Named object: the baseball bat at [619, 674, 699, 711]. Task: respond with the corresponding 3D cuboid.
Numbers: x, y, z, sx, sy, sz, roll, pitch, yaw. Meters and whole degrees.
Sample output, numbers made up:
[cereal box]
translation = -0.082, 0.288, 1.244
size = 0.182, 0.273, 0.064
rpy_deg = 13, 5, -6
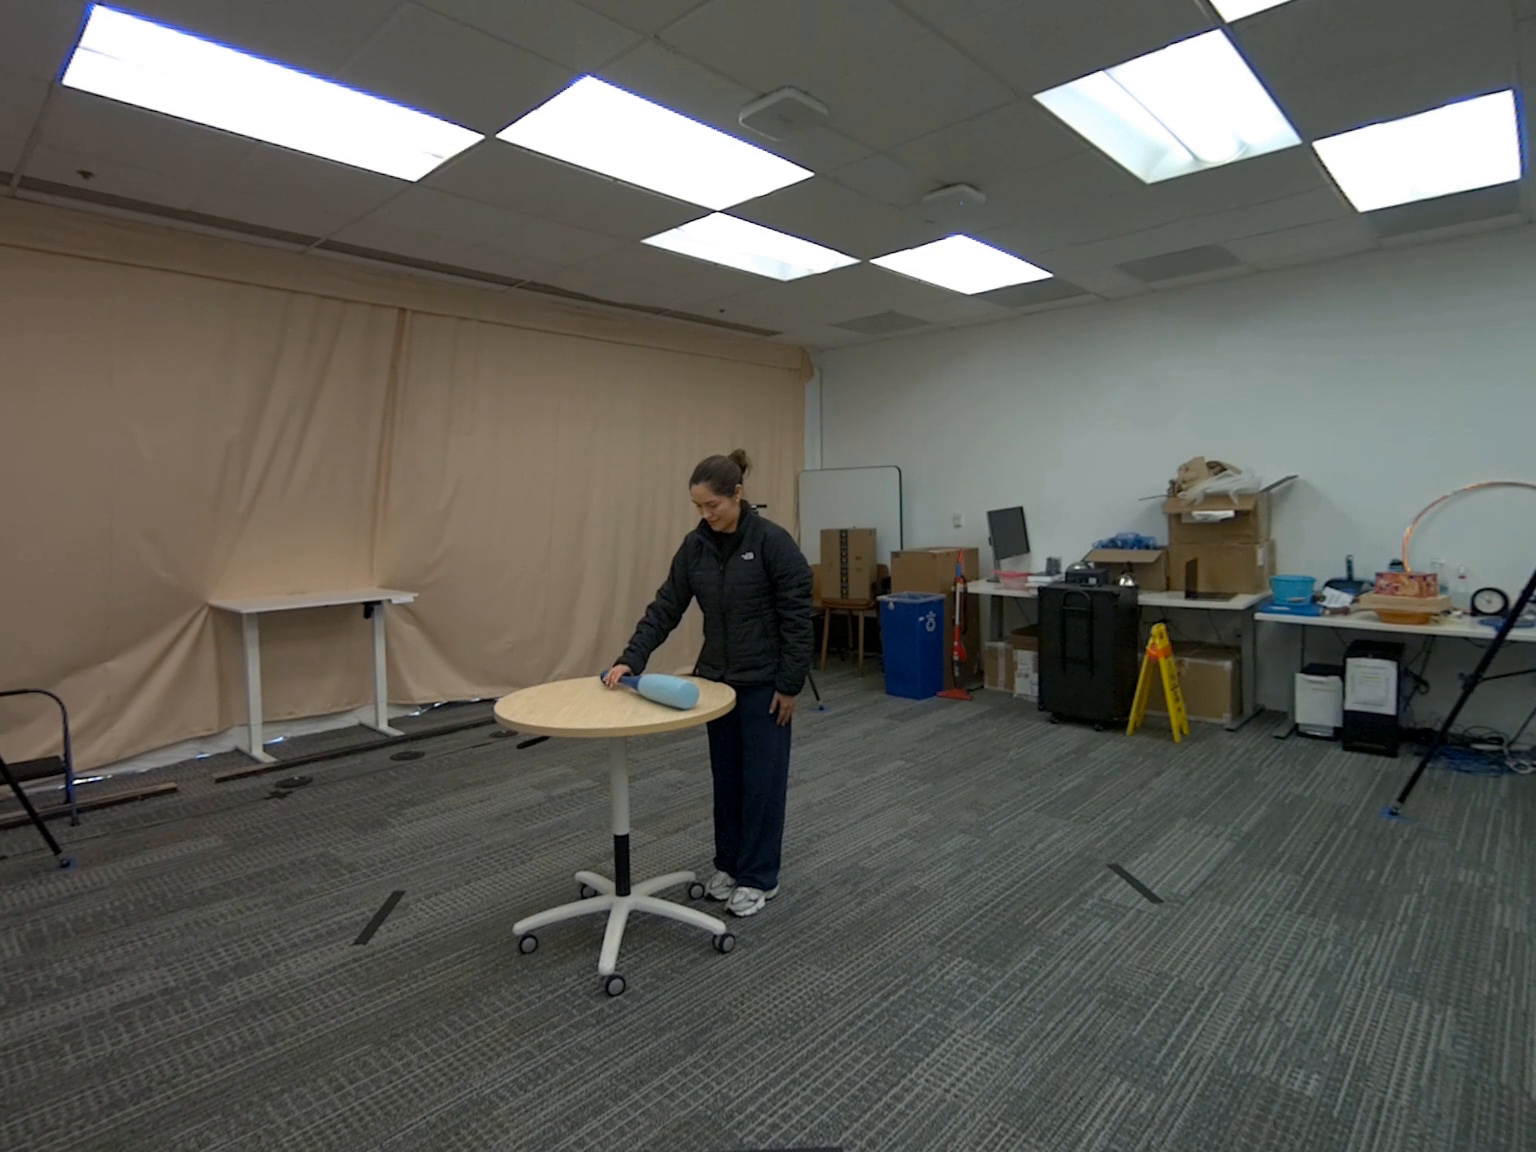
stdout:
[baseball bat]
translation = -0.380, 0.353, 2.699
size = 0.086, 0.089, 0.559
rpy_deg = -4, 2, -38
